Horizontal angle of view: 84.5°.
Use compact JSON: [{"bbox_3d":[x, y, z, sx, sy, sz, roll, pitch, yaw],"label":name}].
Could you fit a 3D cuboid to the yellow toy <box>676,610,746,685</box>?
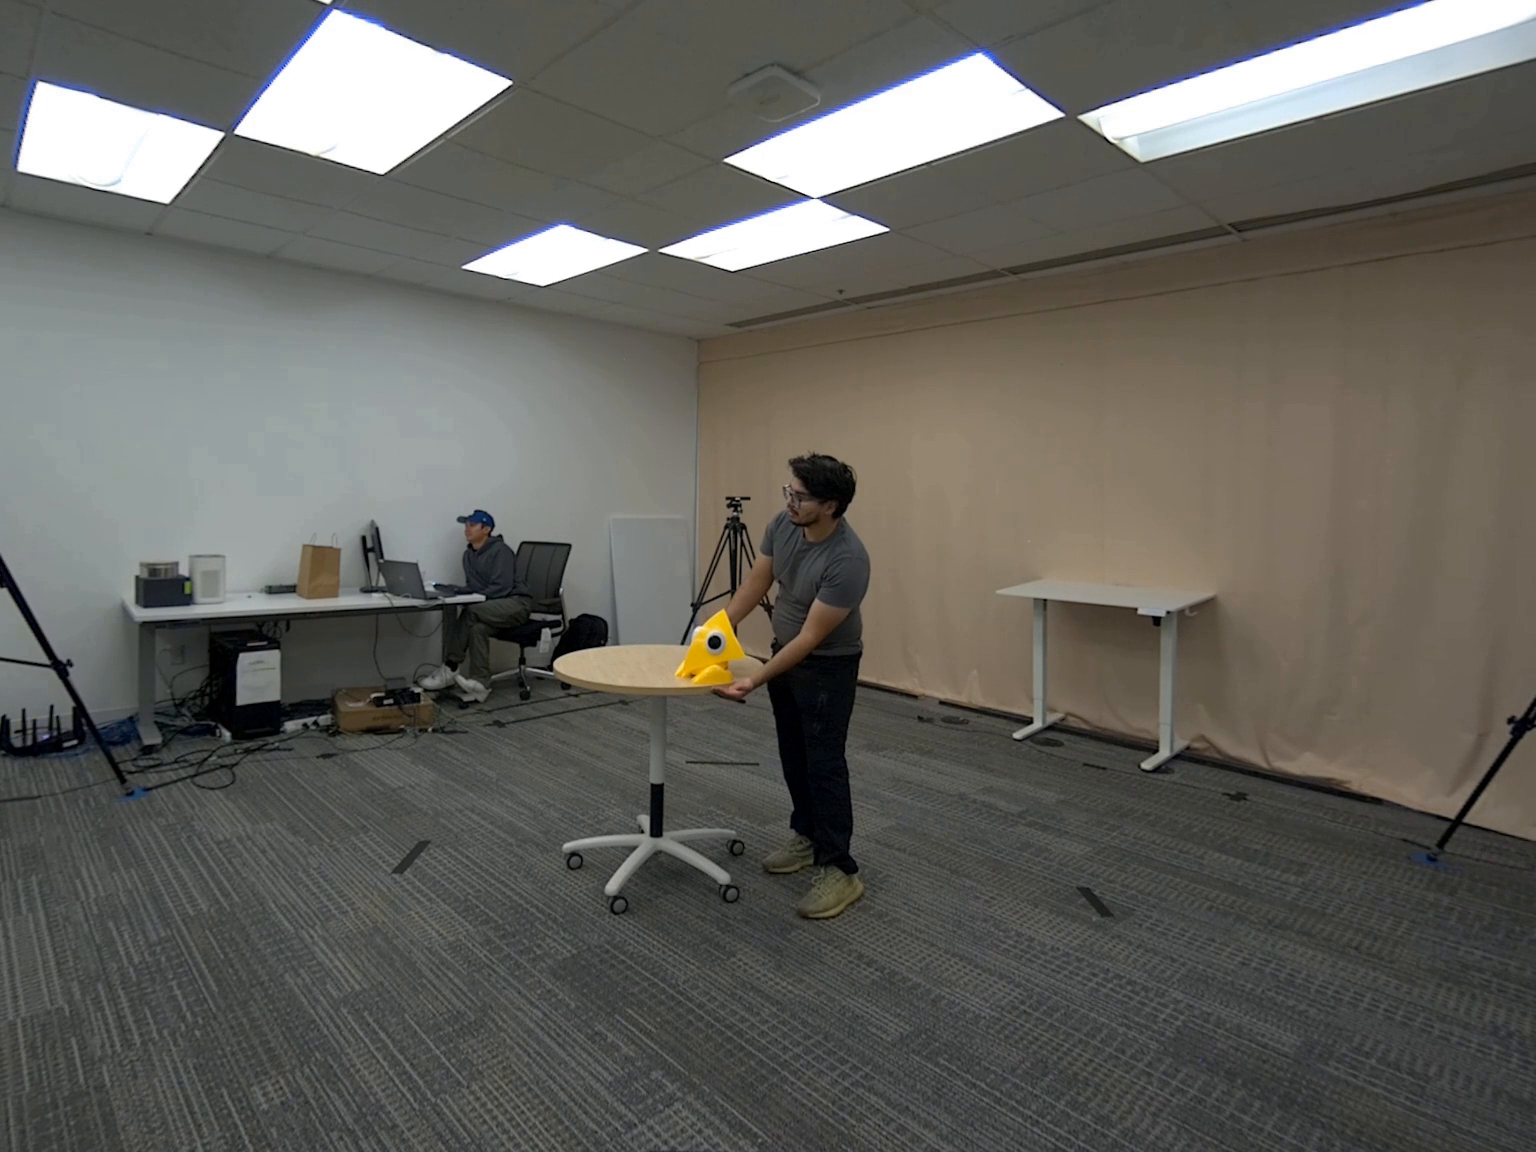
[{"bbox_3d":[-0.205,0.234,2.859,0.189,0.230,0.210,-1,6,-34],"label":"yellow toy"}]
